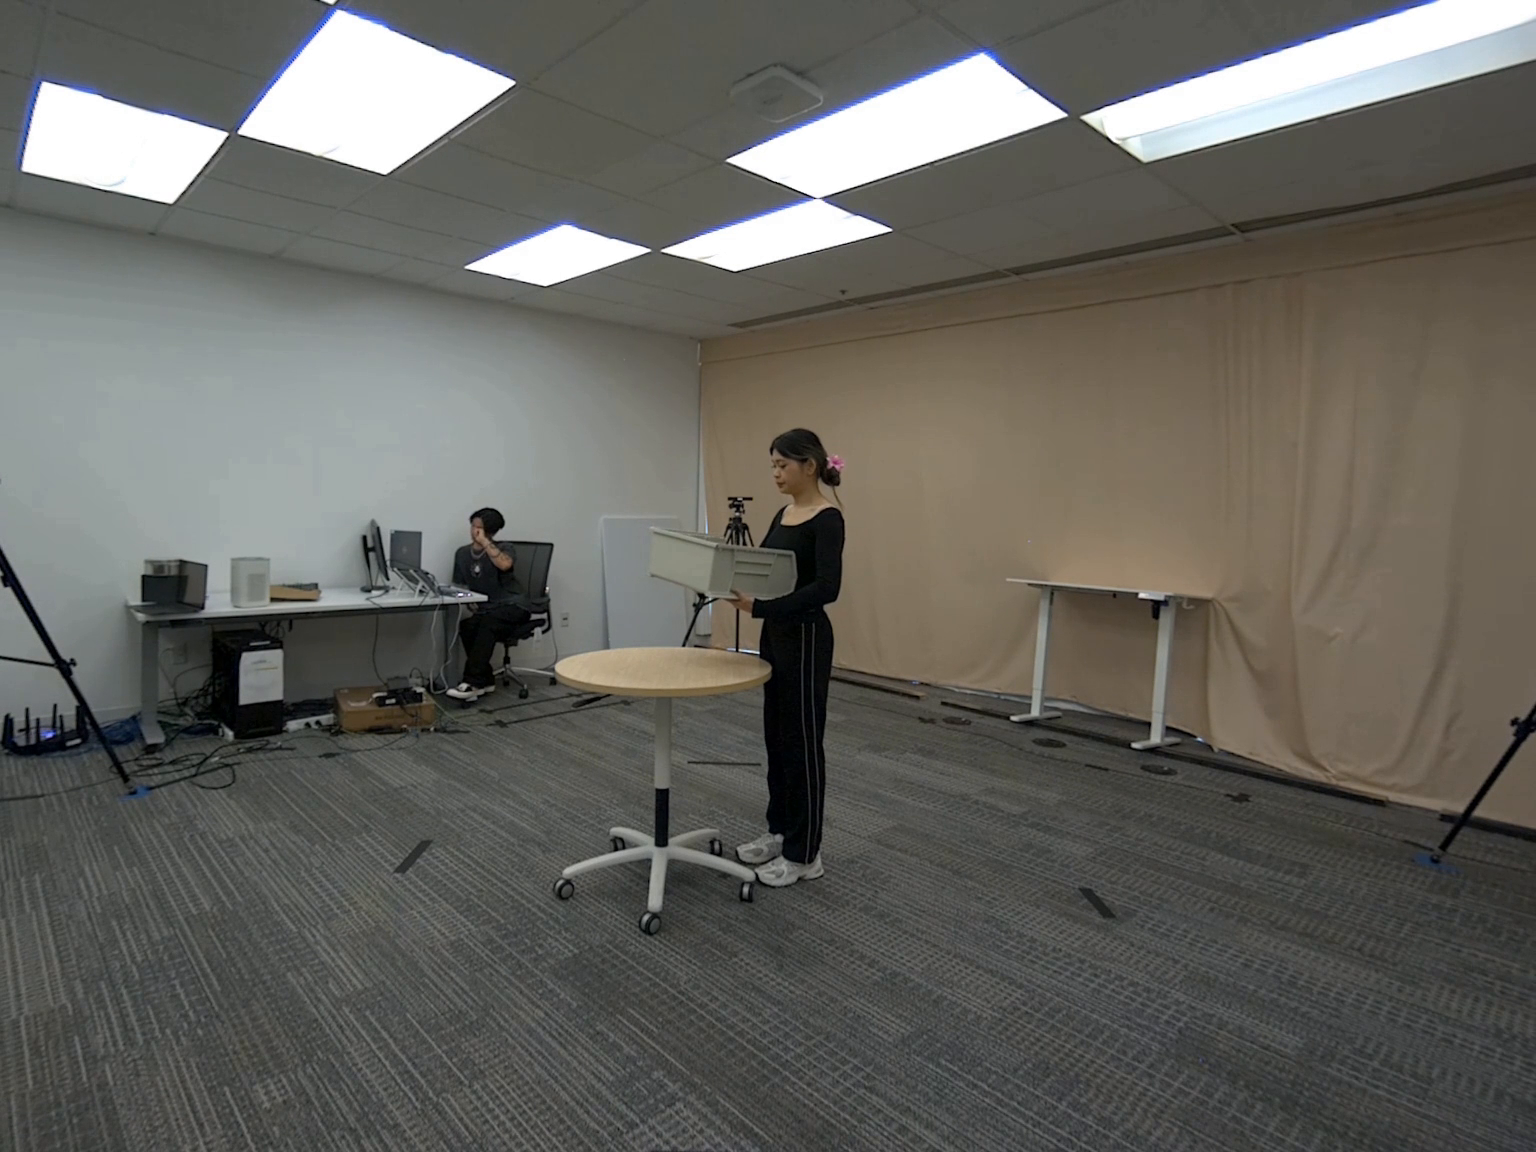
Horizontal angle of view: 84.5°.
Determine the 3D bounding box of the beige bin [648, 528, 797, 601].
[{"bbox_3d":[-0.175,-0.038,3.004,0.368,0.188,0.434,3,8,-39],"label":"beige bin"}]
